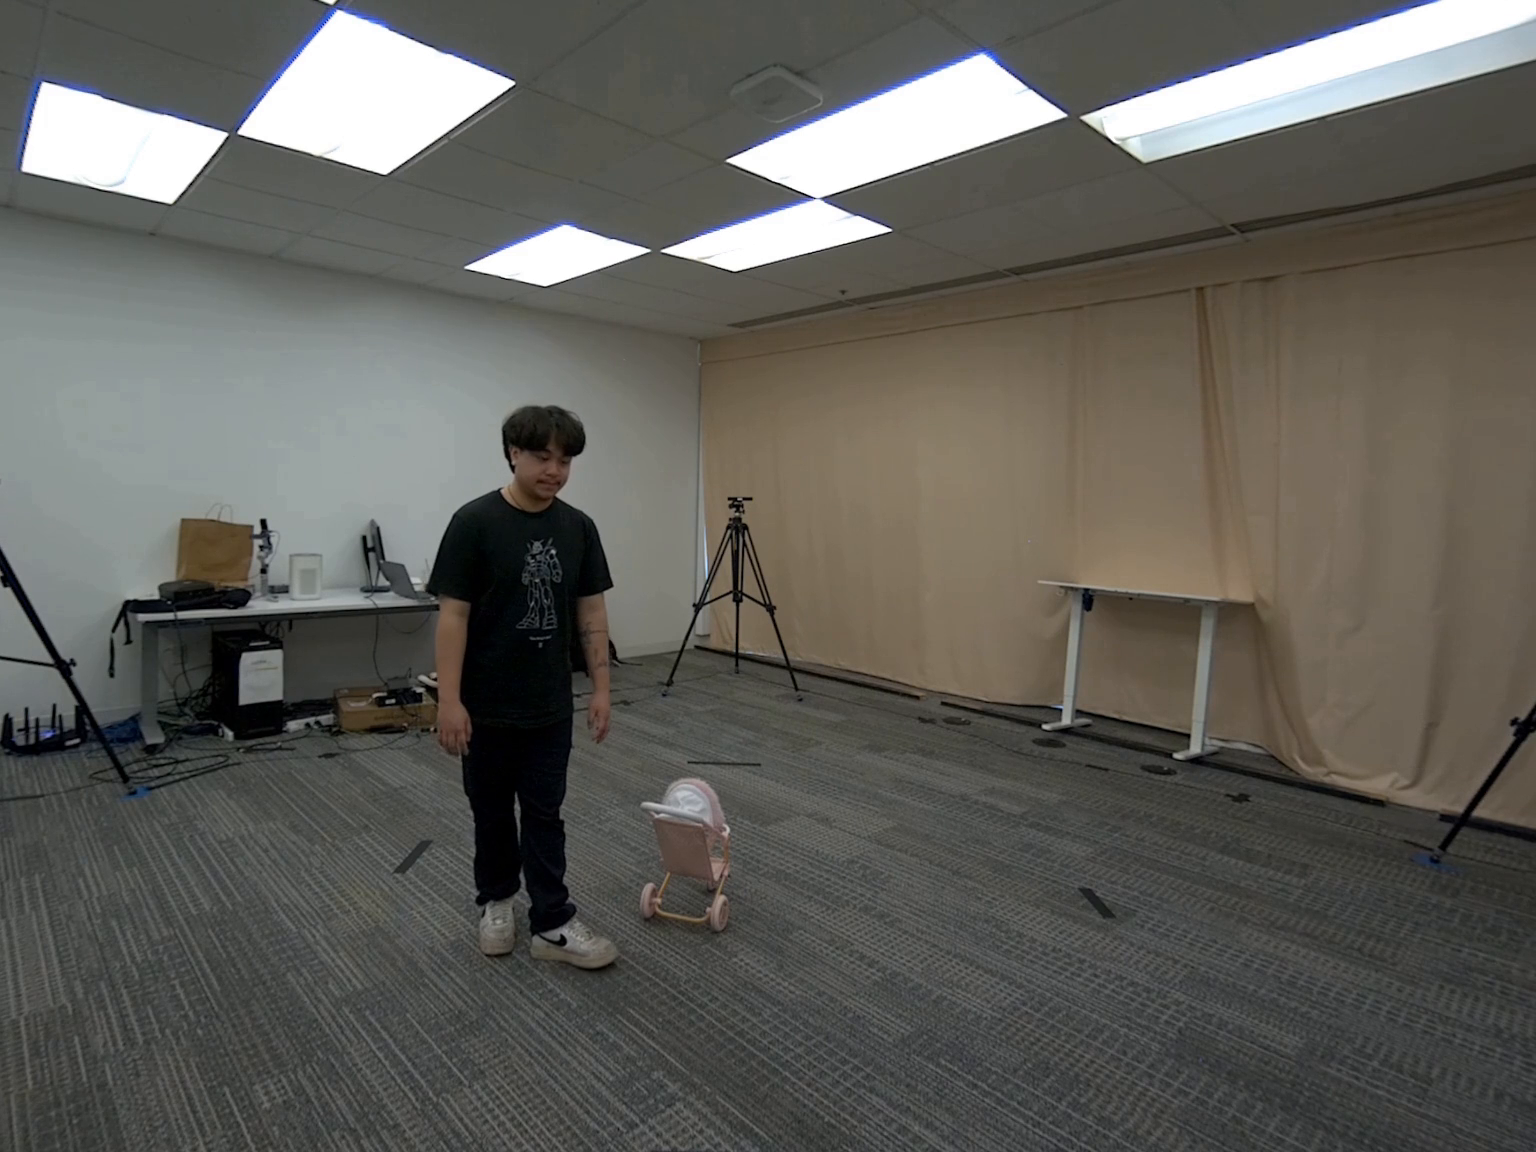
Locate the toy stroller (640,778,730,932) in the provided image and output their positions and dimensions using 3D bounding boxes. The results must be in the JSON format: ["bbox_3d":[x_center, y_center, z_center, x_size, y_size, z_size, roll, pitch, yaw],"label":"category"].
[{"bbox_3d":[-0.254,0.907,2.801,0.286,0.528,0.340,3,19,21],"label":"toy stroller"}]
